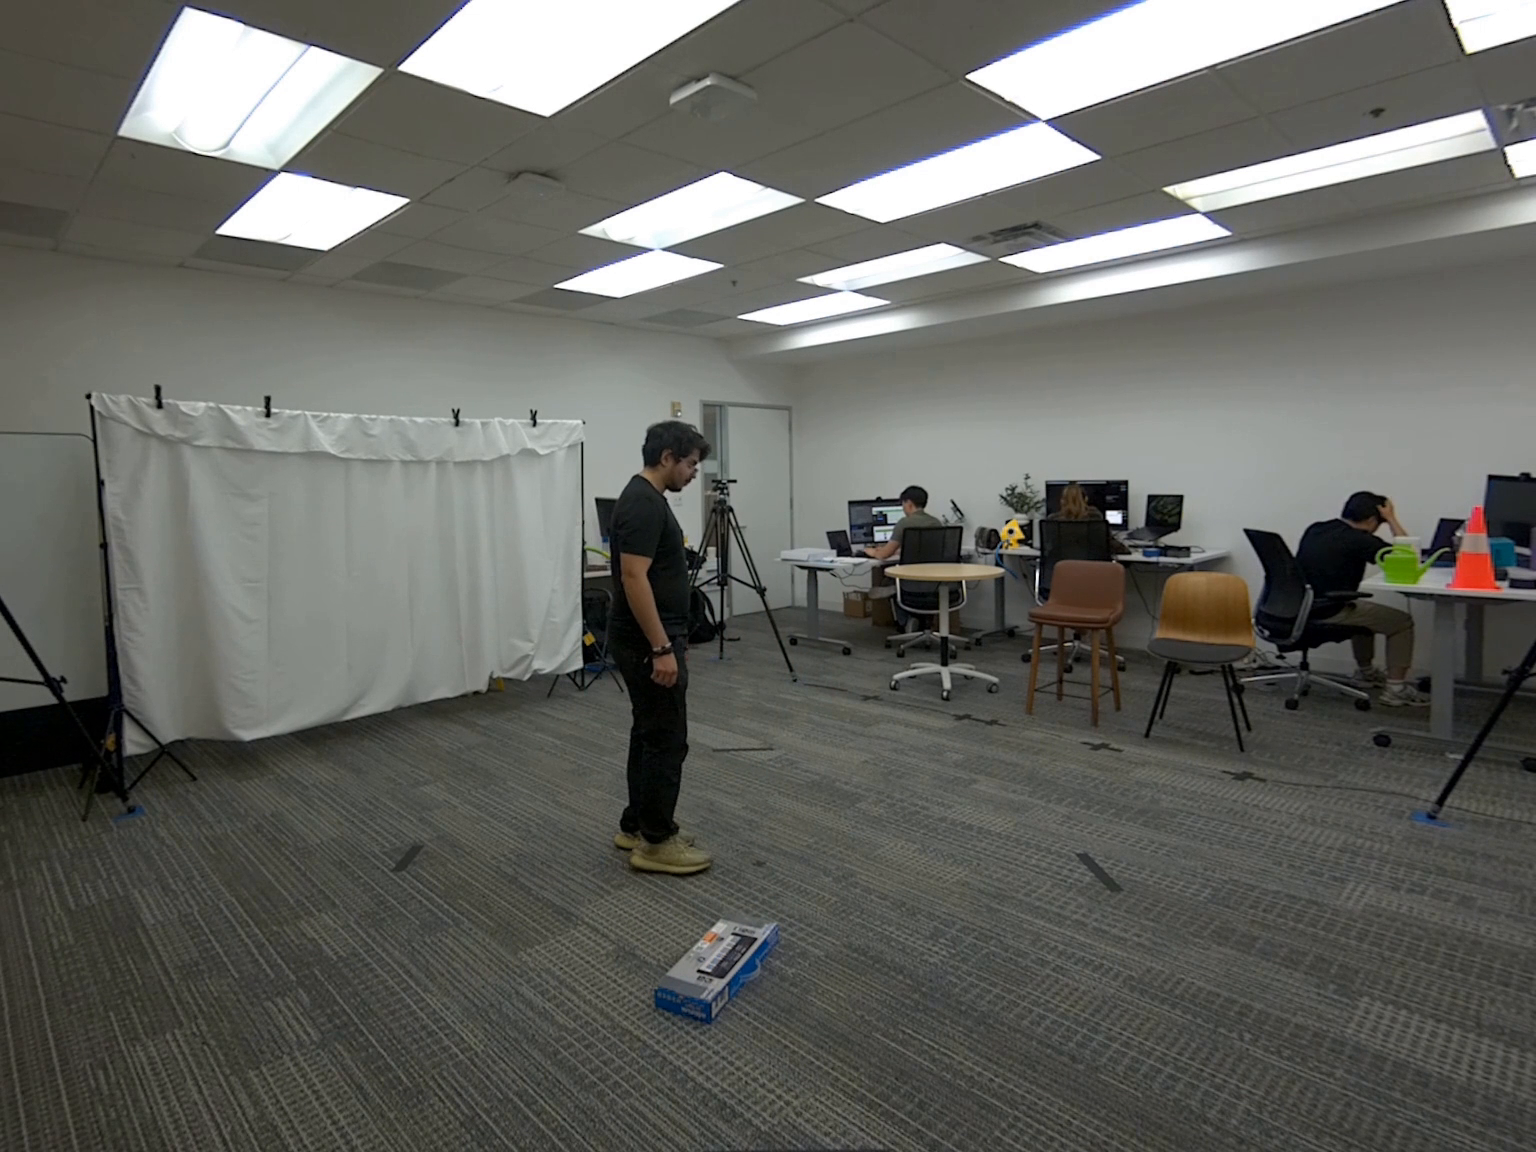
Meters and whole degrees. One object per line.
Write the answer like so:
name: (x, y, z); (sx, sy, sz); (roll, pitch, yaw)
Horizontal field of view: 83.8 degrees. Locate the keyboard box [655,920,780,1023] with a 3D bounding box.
keyboard box: (-0.132, 1.098, 2.429); (0.180, 0.059, 0.429); (1, 7, 26)
